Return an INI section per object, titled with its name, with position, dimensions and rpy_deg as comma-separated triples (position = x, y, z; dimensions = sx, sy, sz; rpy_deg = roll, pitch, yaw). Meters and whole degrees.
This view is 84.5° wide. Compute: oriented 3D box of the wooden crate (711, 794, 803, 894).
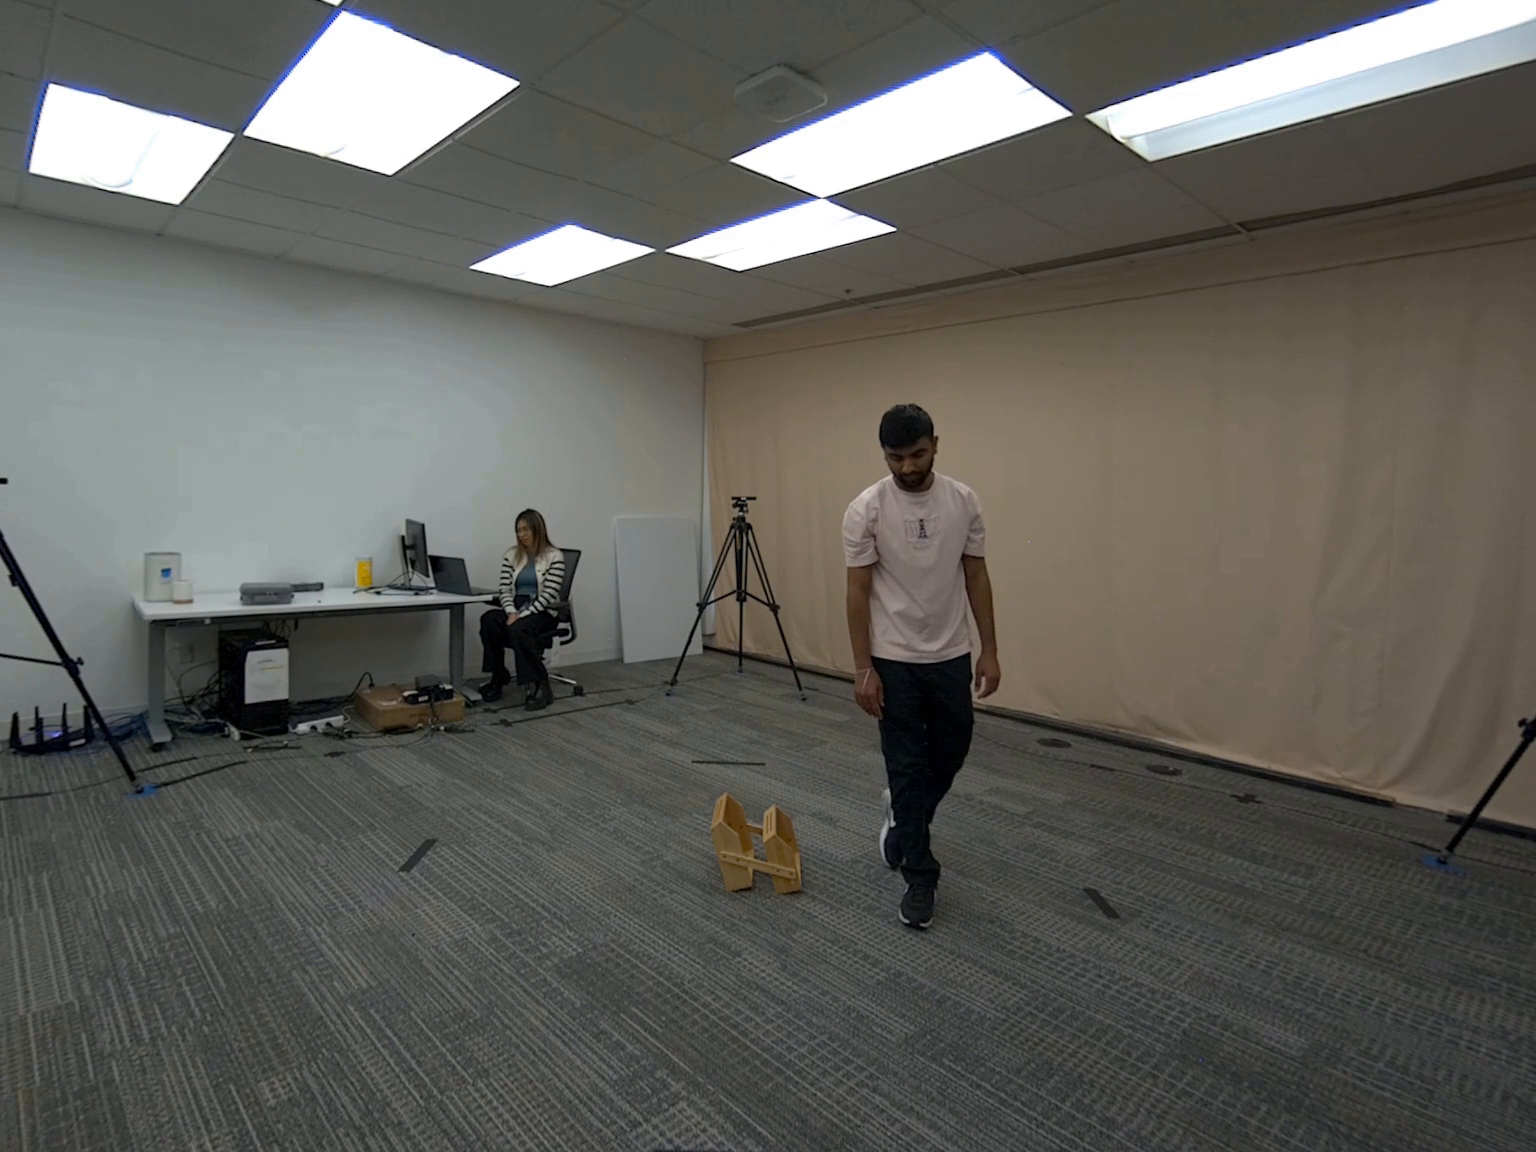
[wooden crate]
position = -0.043, 0.973, 3.113
dimensions = 0.274, 0.301, 0.325
rpy_deg = -15, 4, 3
